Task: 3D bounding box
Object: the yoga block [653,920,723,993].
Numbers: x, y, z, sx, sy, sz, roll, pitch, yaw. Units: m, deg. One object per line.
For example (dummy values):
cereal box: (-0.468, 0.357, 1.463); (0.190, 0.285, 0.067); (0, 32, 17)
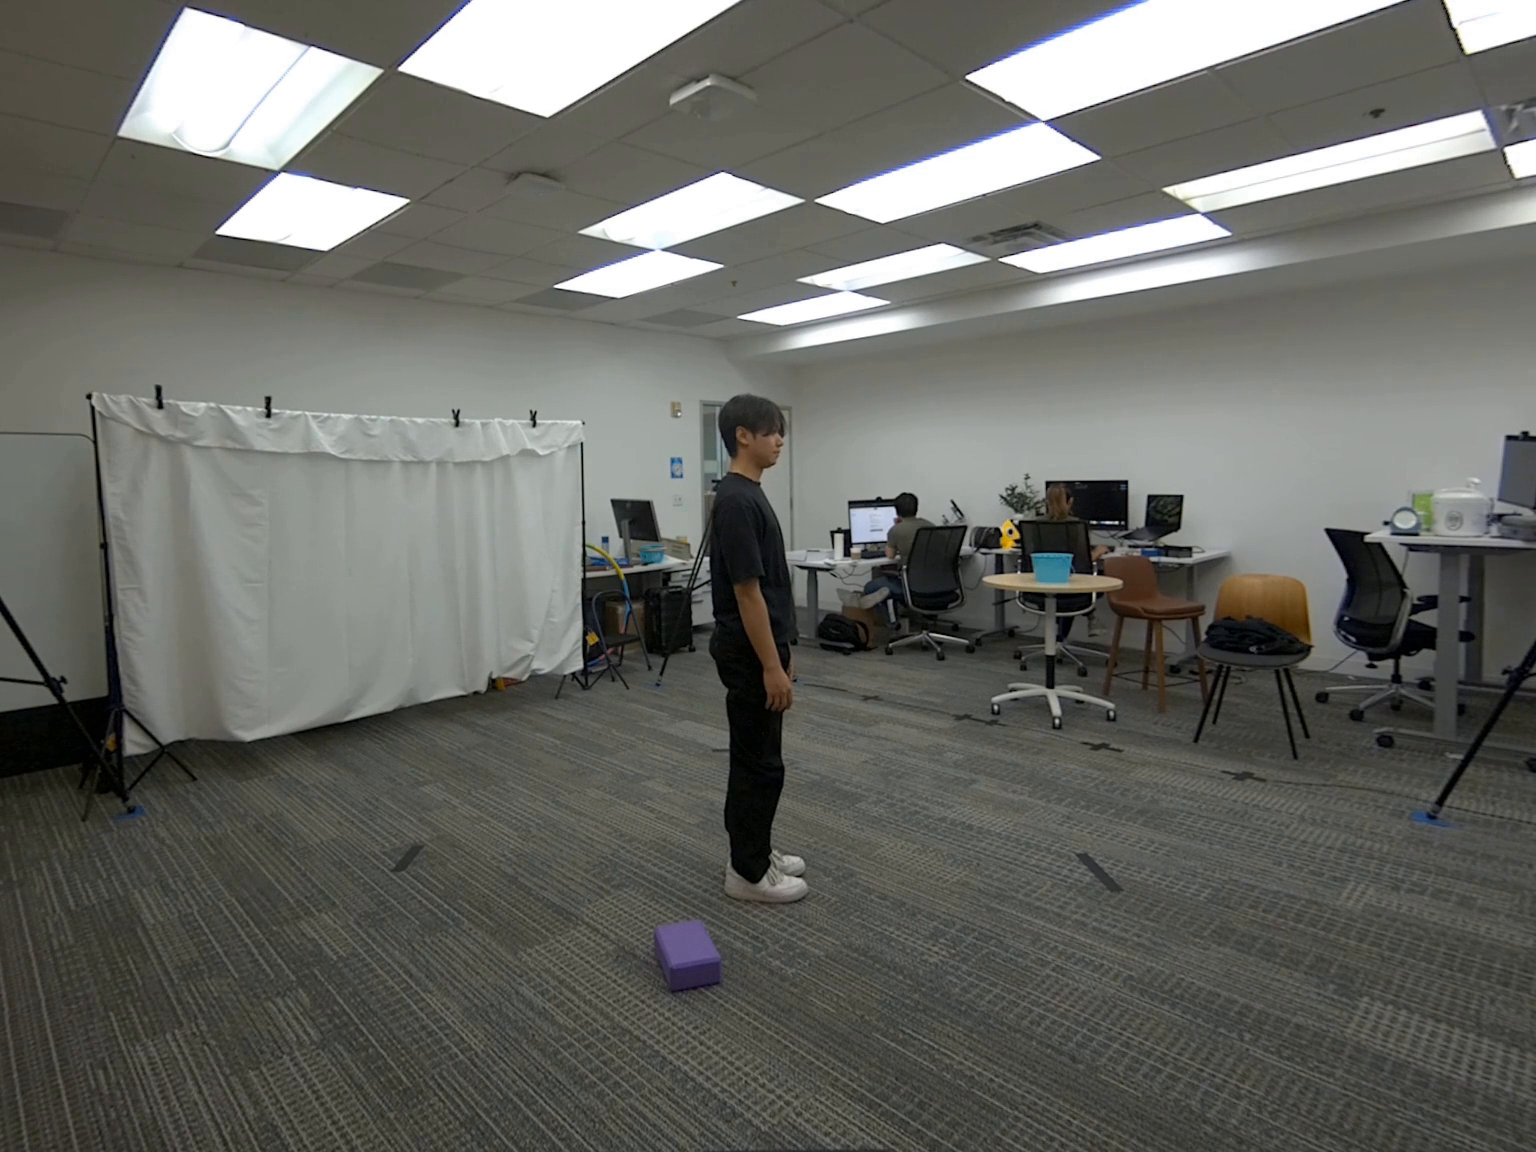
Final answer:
yoga block: (-0.229, 1.088, 2.458); (0.147, 0.076, 0.234); (-3, 6, -17)
